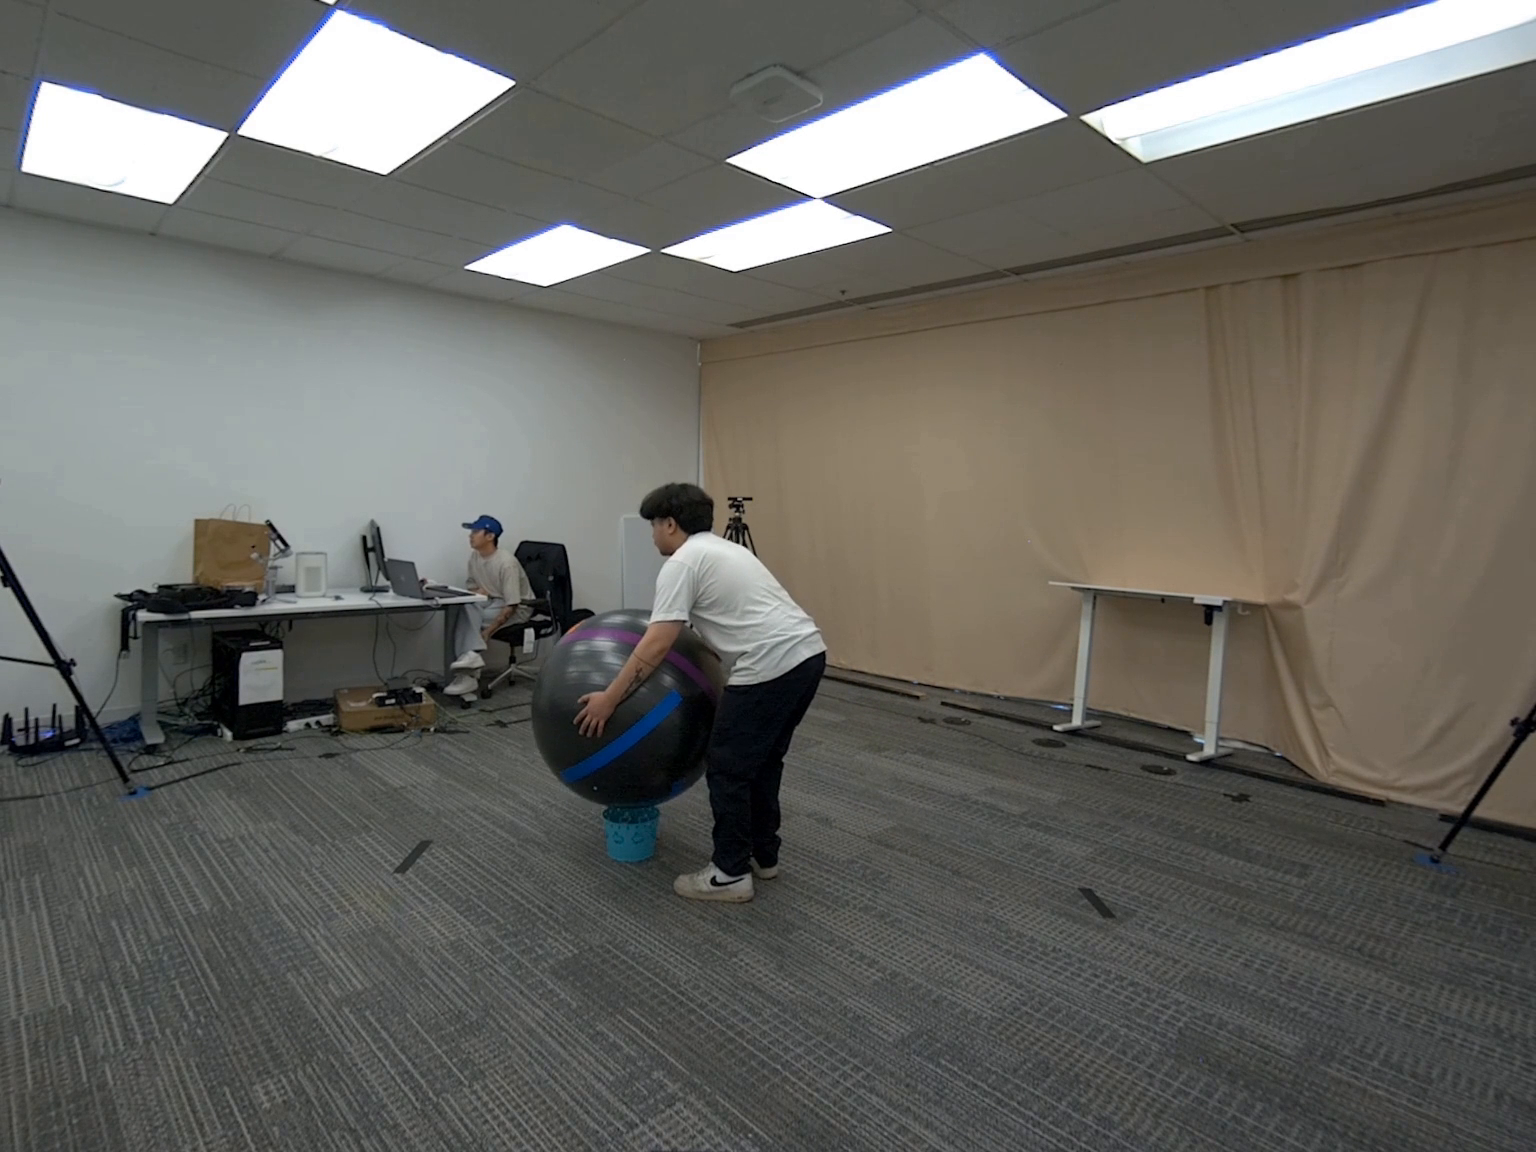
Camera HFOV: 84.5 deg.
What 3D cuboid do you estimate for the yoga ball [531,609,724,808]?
[{"bbox_3d":[-0.543,0.506,3.279,0.757,0.756,0.760,1,4,-1],"label":"yoga ball"}]
